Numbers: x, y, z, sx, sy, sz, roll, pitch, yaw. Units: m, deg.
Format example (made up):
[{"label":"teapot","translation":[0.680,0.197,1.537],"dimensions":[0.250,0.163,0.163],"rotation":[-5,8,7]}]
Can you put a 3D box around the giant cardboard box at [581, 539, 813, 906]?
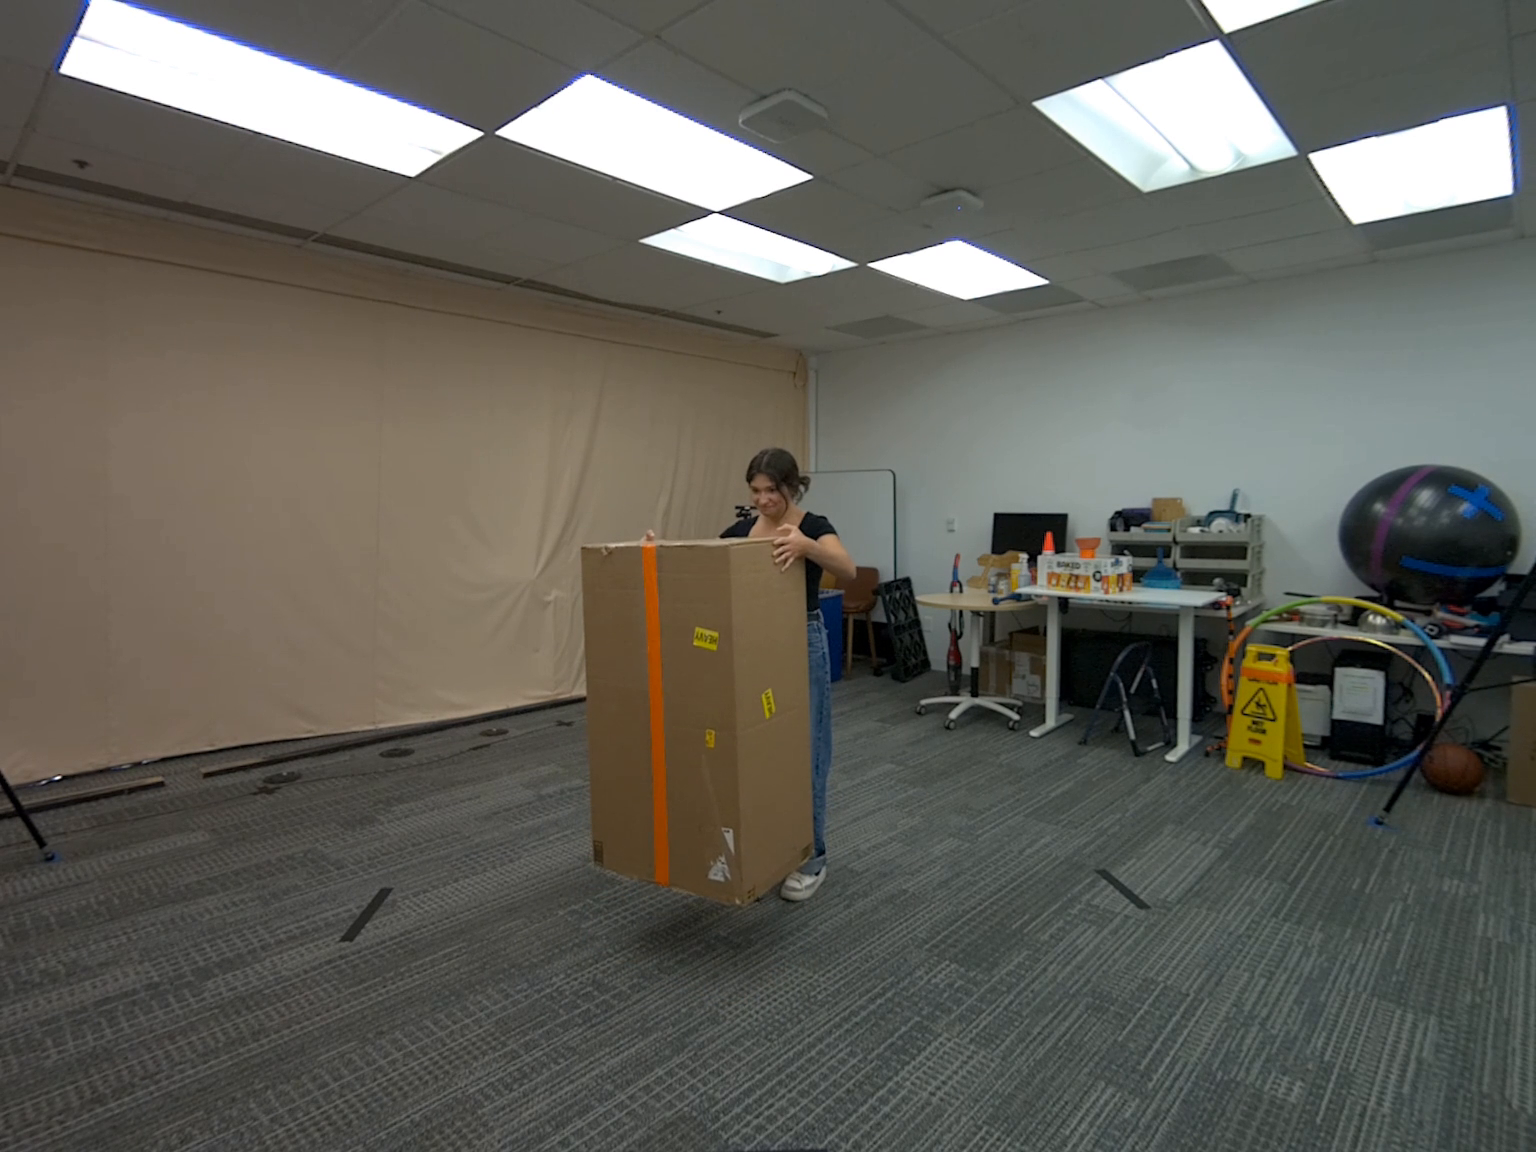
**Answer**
[{"label":"giant cardboard box","translation":[-0.227,0.406,2.659],"dimensions":[0.595,1.024,0.414],"rotation":[0,2,34]}]
